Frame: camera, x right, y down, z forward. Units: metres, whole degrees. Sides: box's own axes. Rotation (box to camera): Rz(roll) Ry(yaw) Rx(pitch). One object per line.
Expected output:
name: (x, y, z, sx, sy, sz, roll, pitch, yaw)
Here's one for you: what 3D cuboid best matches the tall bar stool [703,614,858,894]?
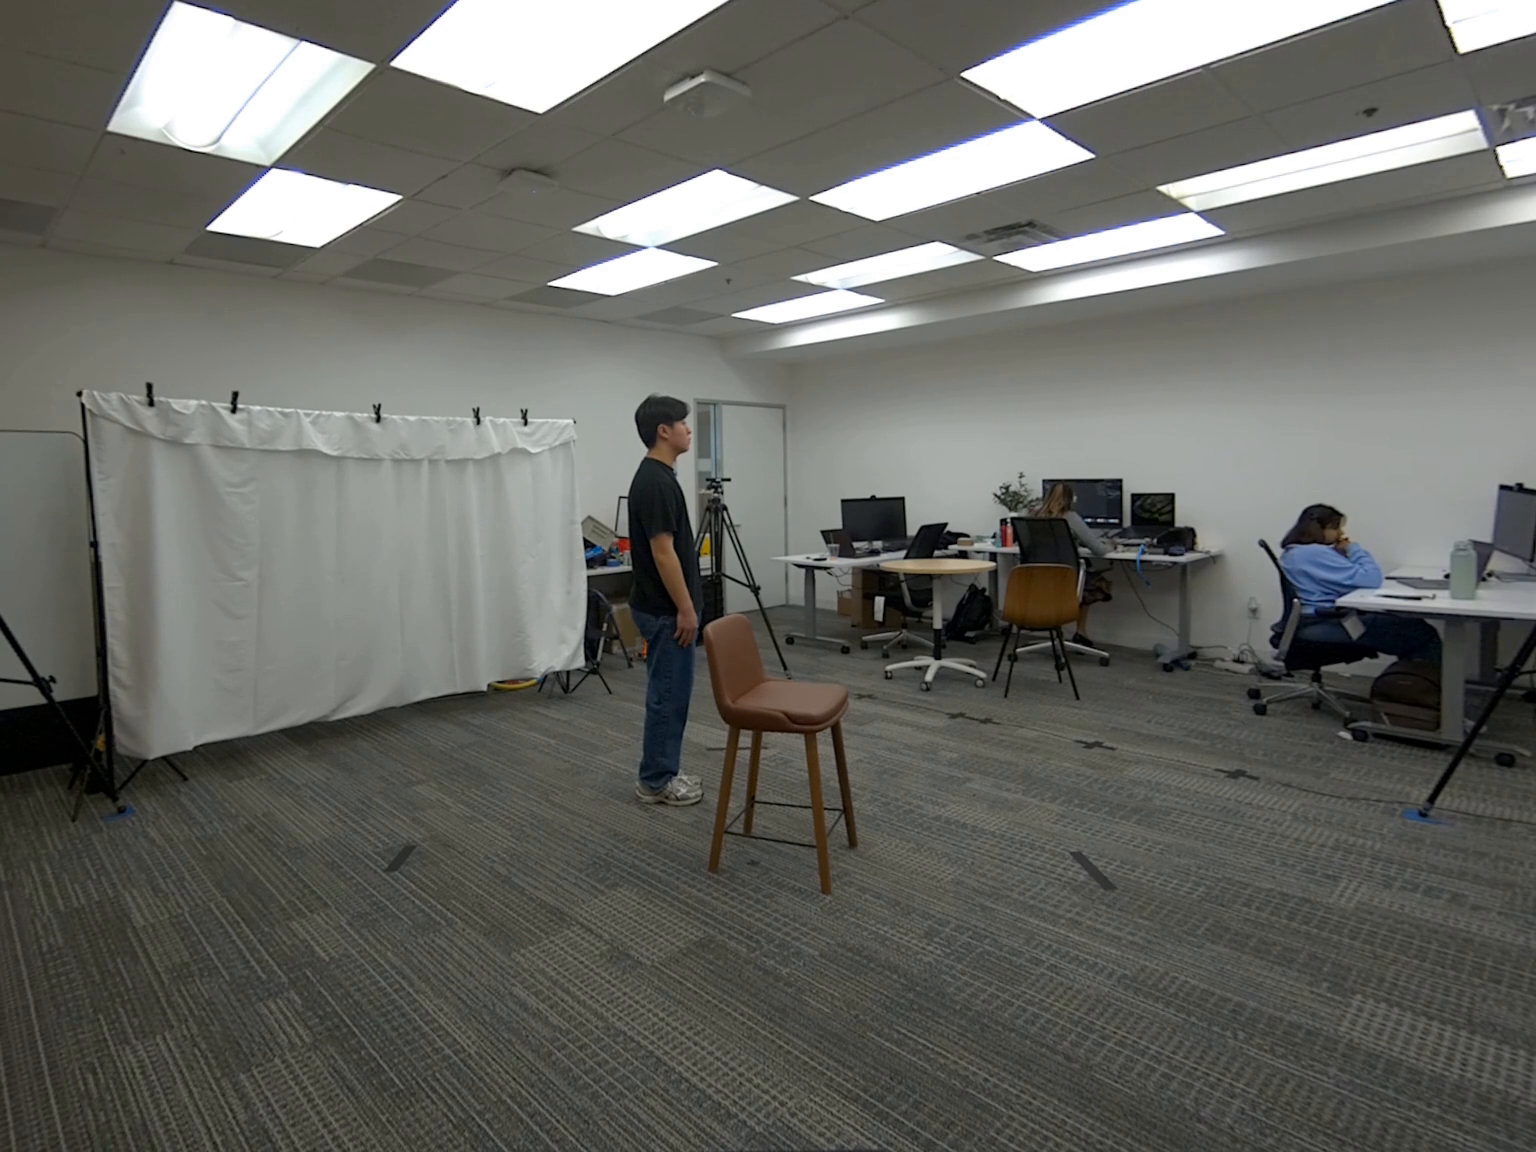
tall bar stool: (0.053, 0.606, 3.110, 0.477, 0.888, 0.448, -1, 3, 23)
